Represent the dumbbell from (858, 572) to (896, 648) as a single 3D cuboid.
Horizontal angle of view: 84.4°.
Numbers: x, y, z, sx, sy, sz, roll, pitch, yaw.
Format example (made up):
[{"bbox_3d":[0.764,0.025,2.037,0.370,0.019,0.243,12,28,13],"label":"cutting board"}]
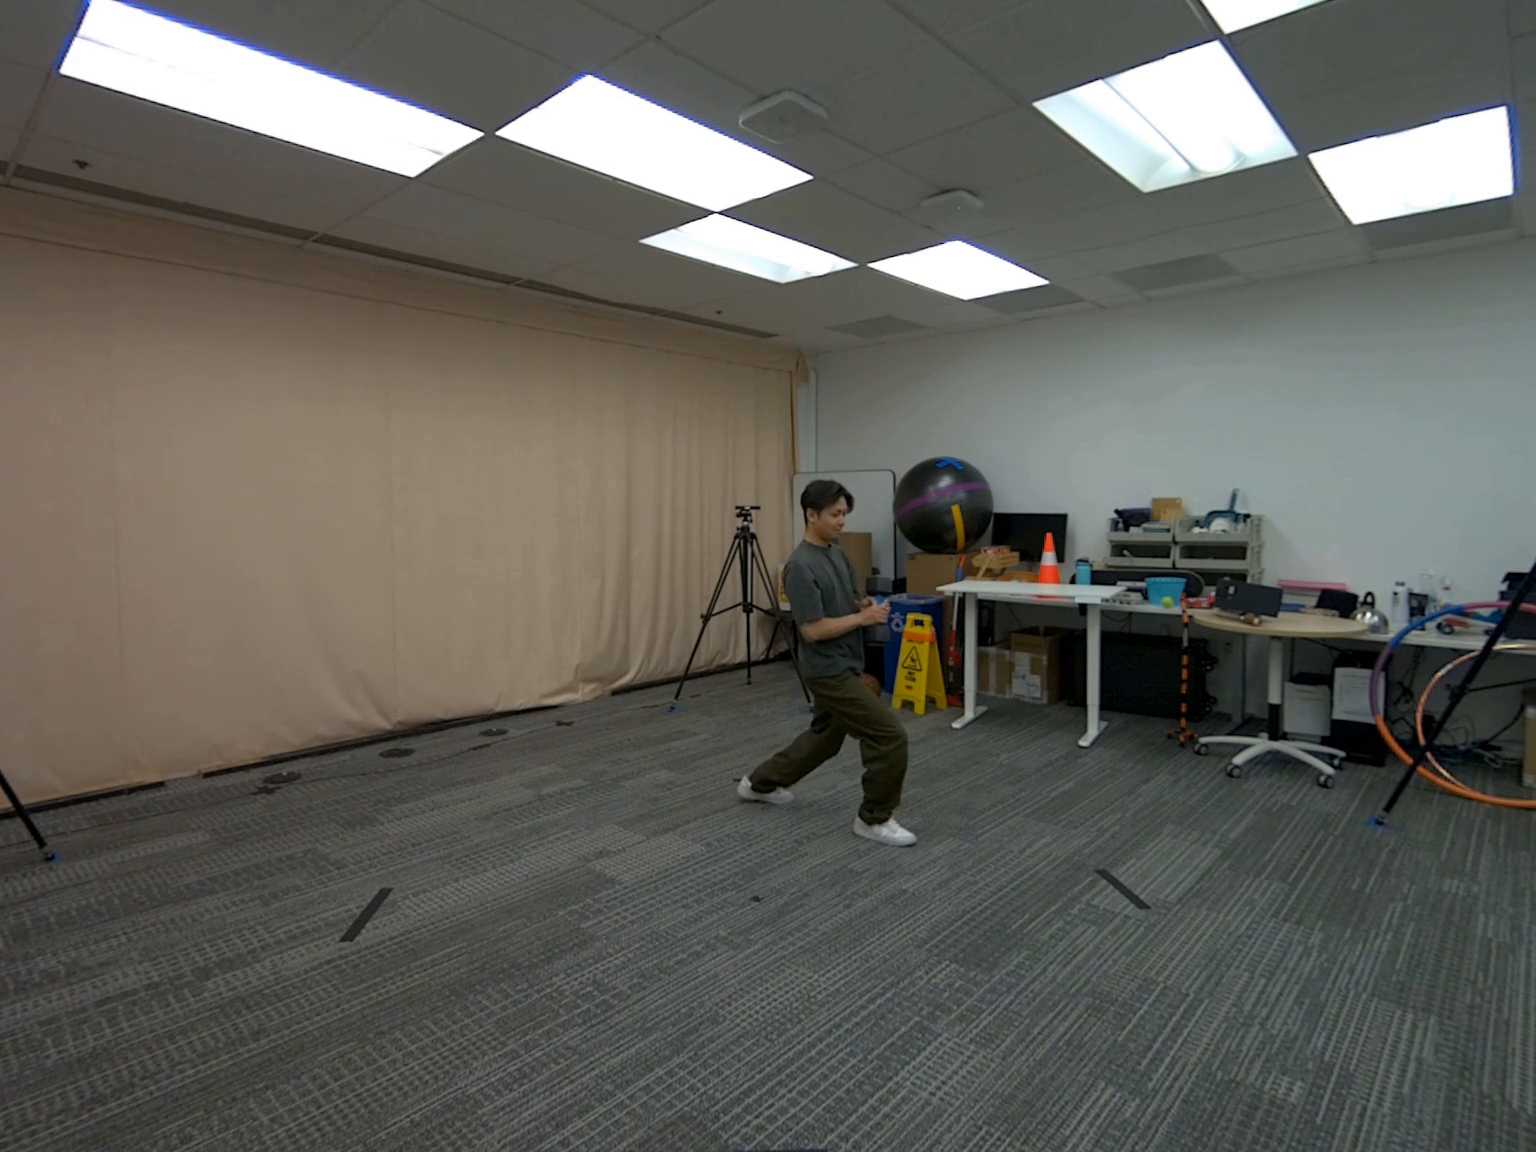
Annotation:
[{"bbox_3d":[0.453,0.143,3.586,0.121,0.295,0.109,8,-13,-14],"label":"dumbbell"}]
